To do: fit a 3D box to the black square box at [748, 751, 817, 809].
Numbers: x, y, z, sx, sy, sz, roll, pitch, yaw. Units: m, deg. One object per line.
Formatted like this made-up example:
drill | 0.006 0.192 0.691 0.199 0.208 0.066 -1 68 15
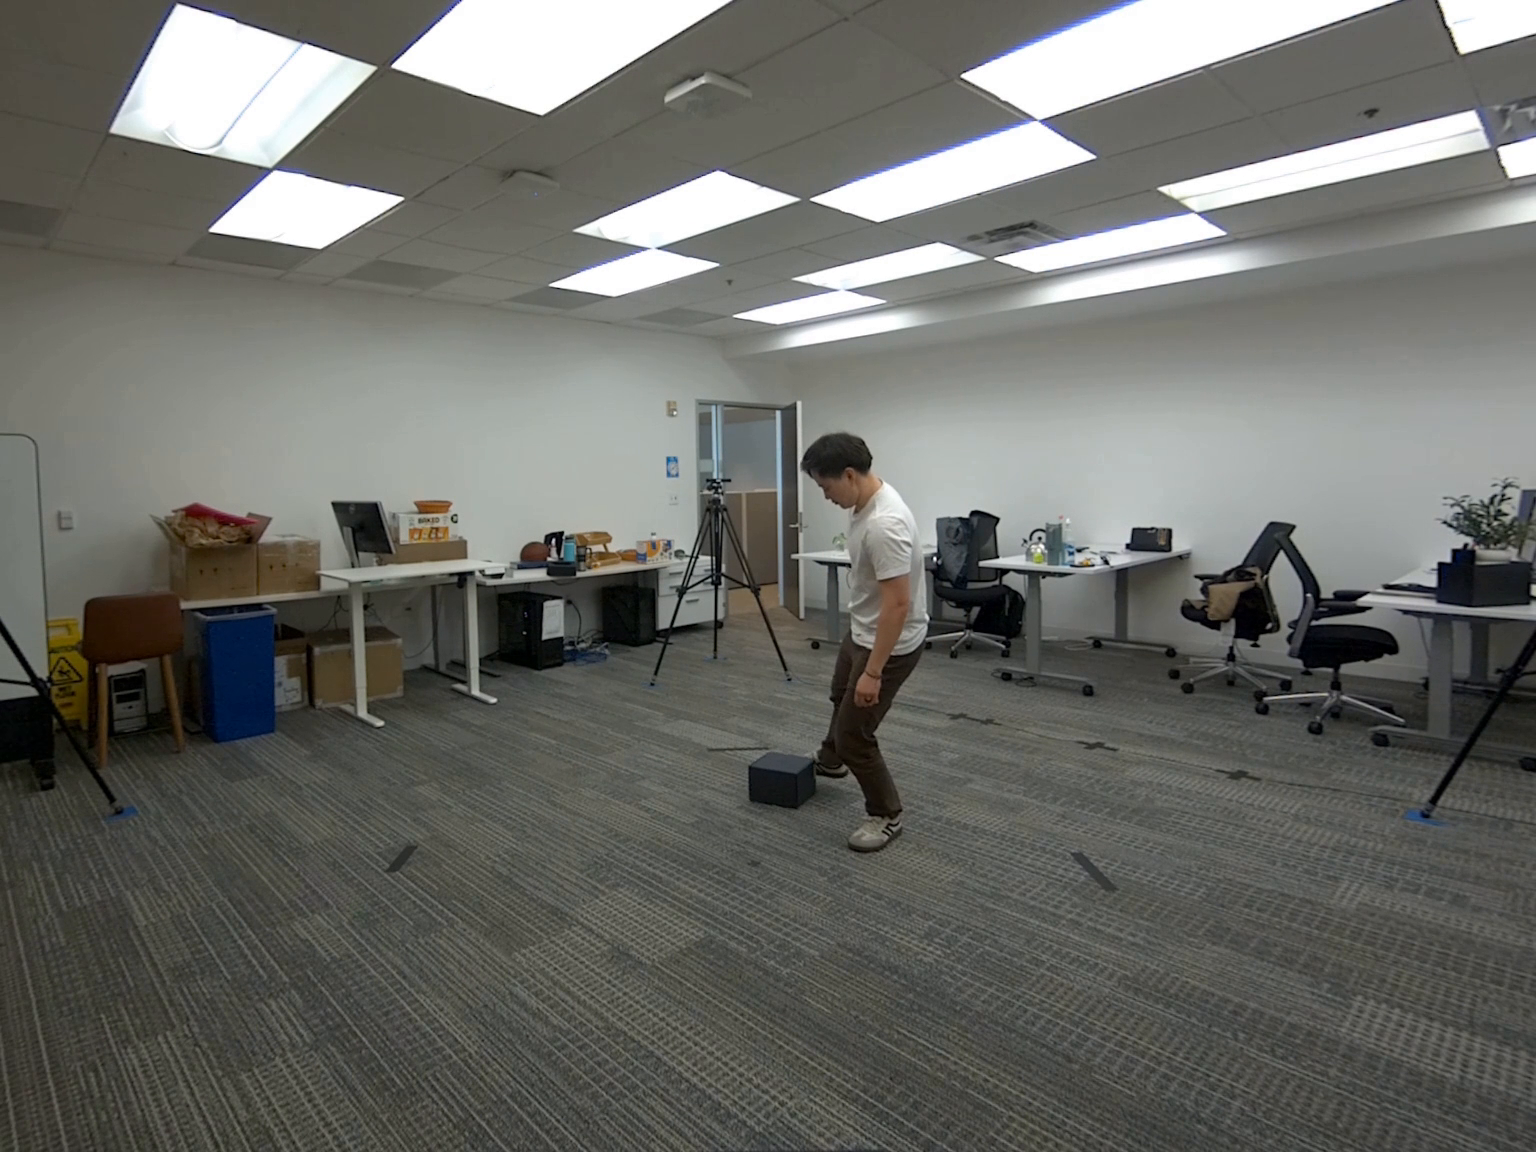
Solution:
black square box | 0.062 0.886 3.735 0.233 0.155 0.212 3 6 27
